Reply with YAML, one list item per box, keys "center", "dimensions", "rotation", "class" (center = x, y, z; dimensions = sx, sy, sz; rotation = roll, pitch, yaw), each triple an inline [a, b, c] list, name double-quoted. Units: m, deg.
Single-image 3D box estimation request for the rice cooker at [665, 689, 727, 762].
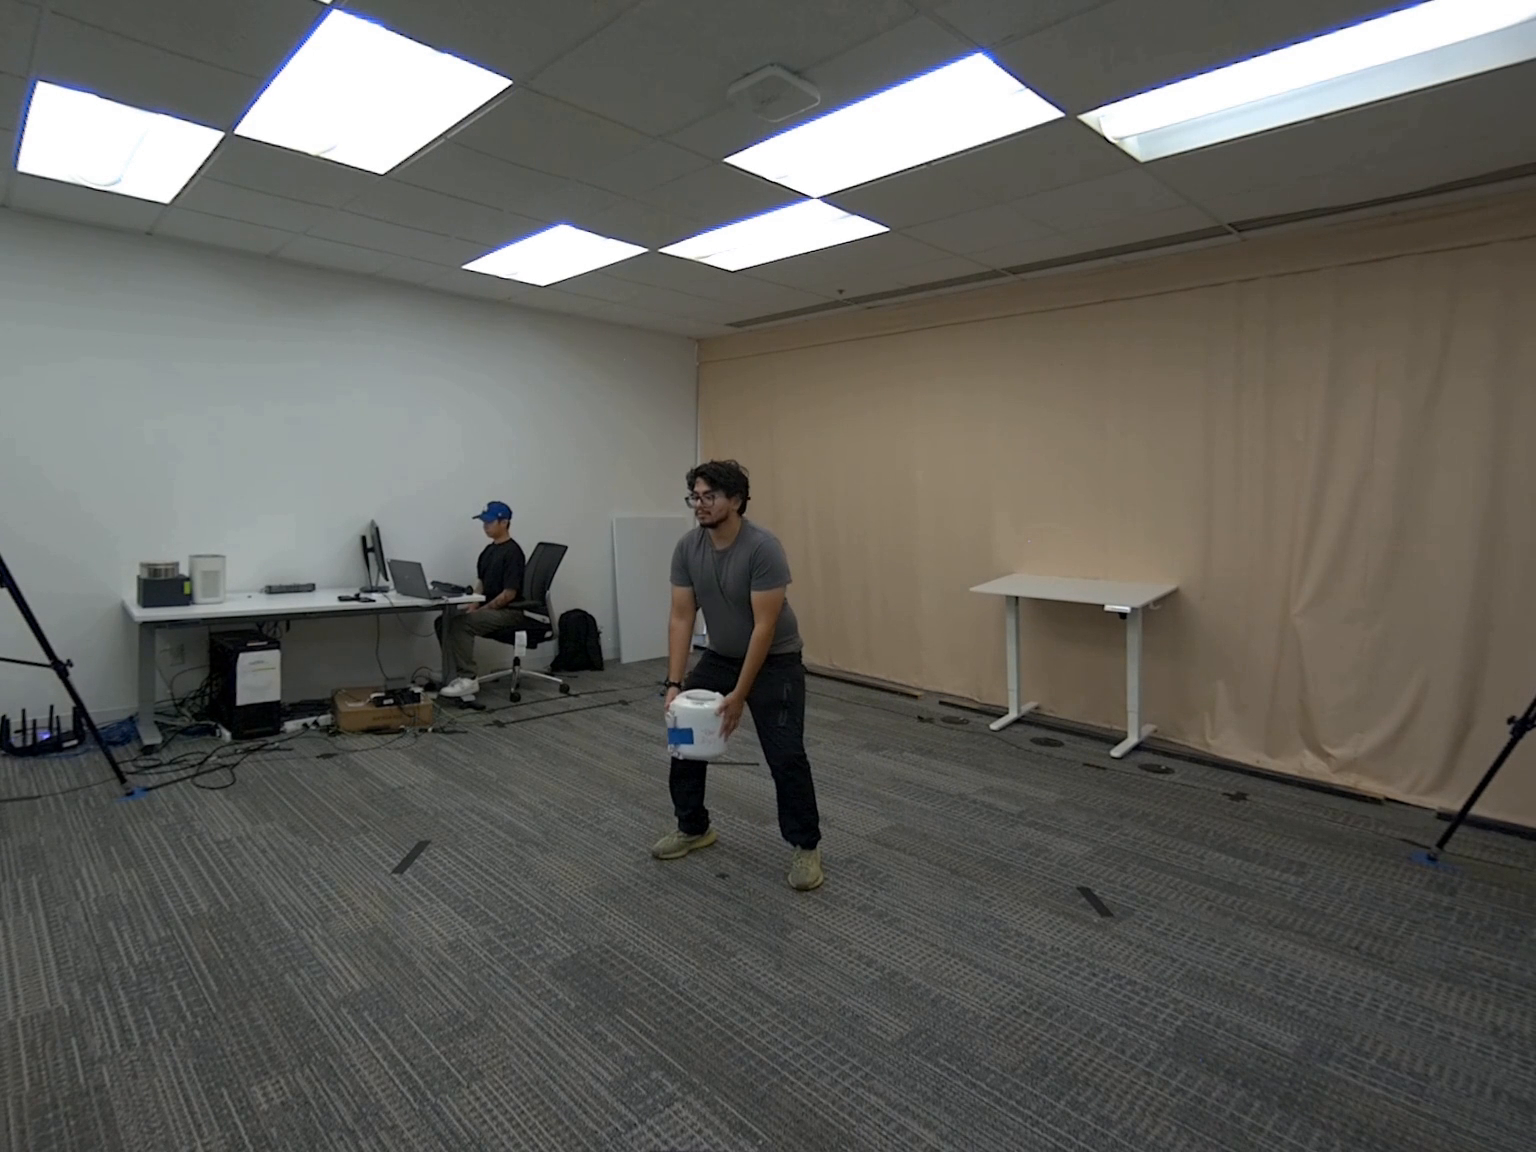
- center: [-0.261, 0.525, 2.997]
  dimensions: [0.222, 0.232, 0.216]
  rotation: [3, 3, 6]
  class: "rice cooker"
